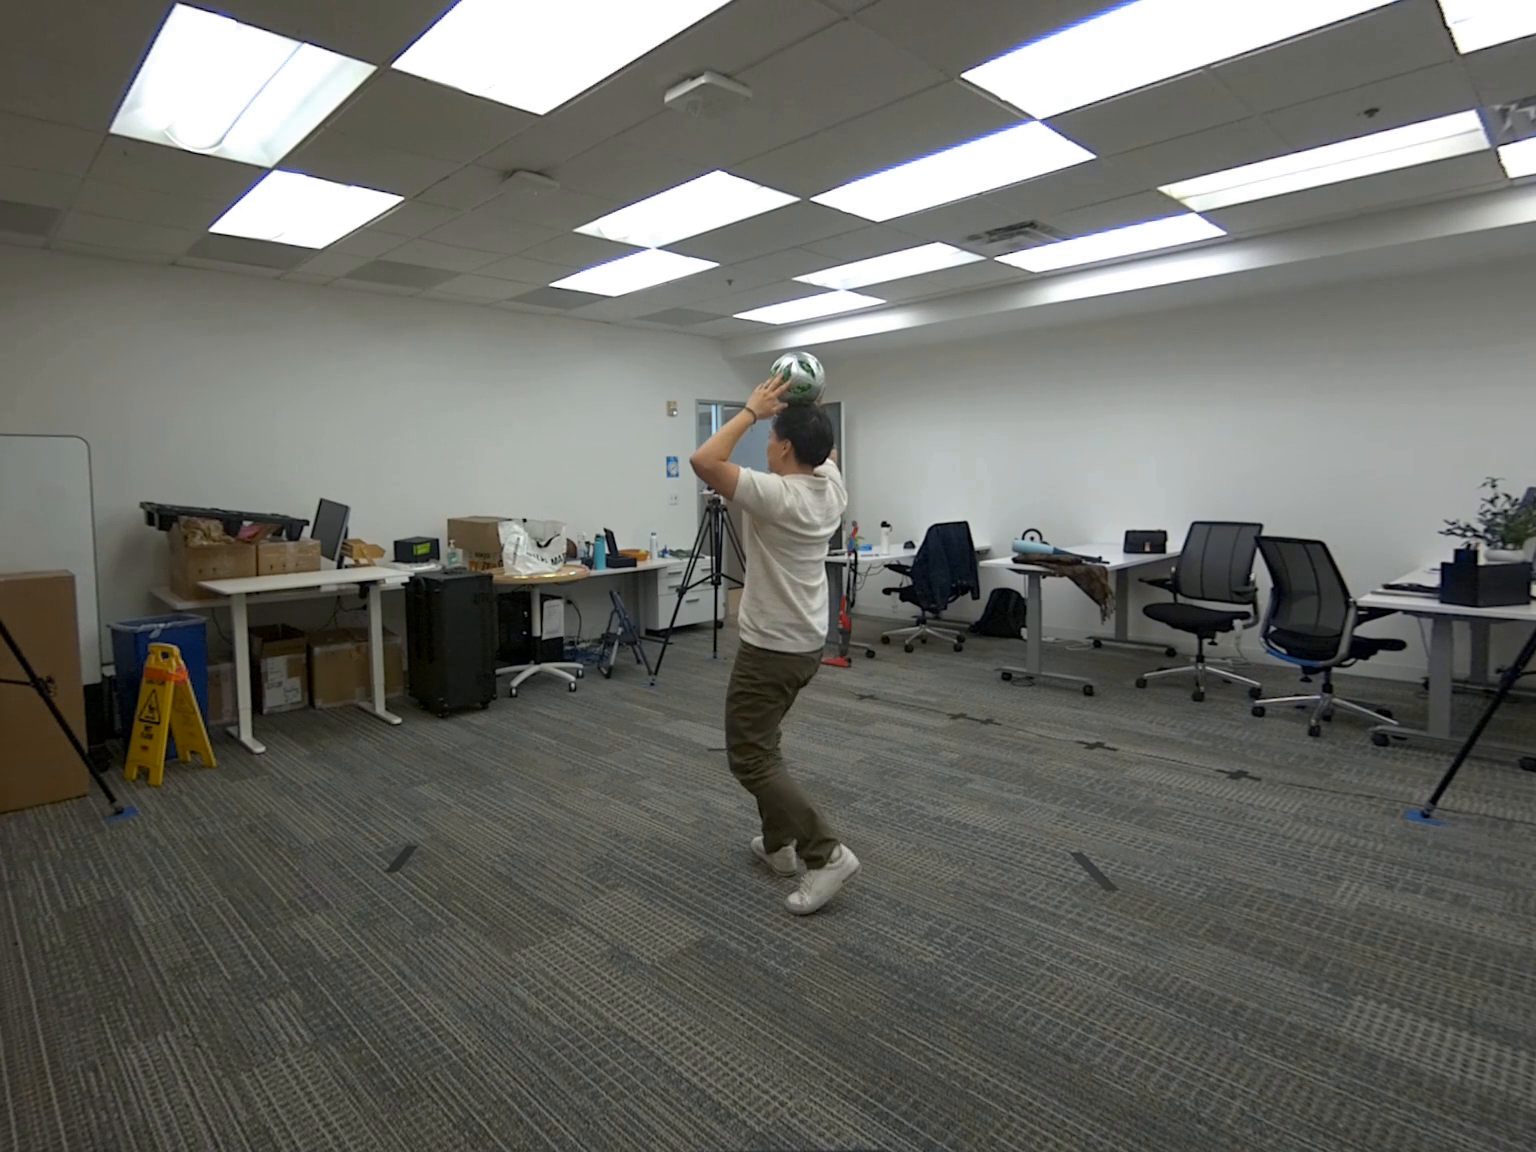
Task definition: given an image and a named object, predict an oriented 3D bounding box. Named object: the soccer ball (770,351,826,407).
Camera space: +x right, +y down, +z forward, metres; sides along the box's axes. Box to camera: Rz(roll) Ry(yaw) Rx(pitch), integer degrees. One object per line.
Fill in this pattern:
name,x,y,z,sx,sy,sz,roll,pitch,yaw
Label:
soccer ball,0.103,-0.653,2.855,0.187,0.187,0.188,-1,5,-2
